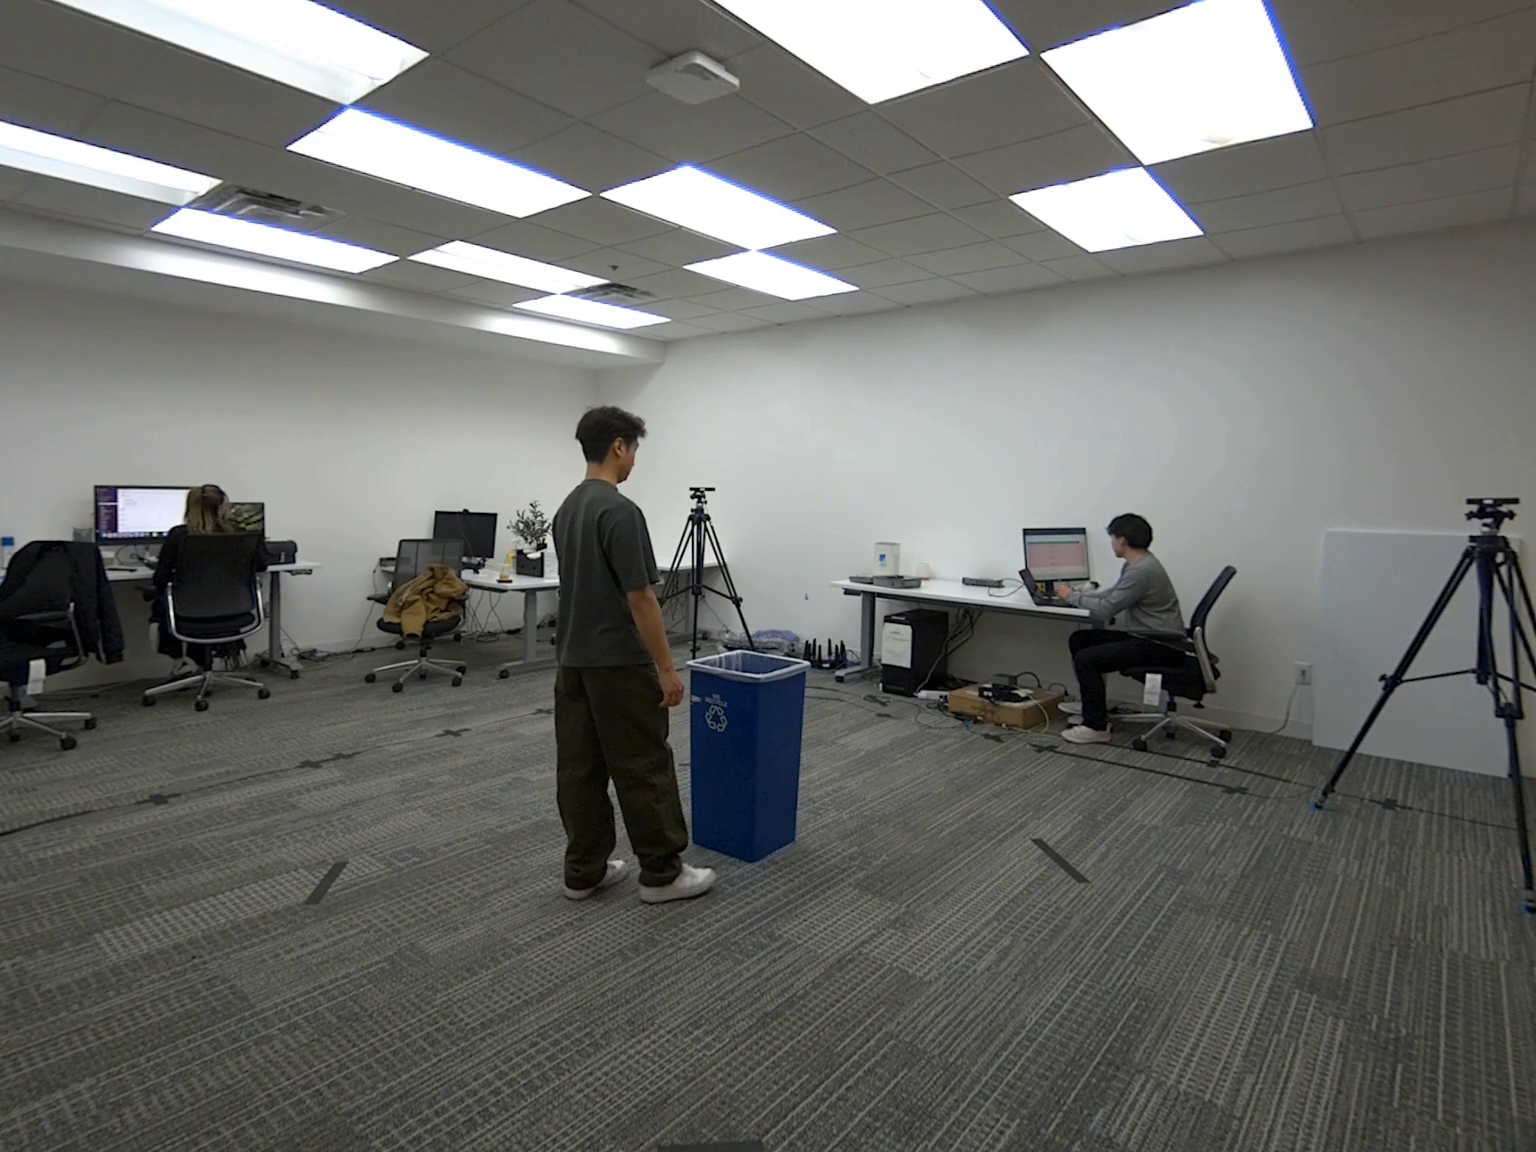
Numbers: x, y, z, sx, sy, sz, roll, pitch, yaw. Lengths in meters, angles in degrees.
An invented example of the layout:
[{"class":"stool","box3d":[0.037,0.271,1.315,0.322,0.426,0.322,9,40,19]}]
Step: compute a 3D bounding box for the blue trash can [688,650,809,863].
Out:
[{"class":"blue trash can","box3d":[-0.092,0.687,3.350,0.390,0.711,0.364,4,5,35]}]
